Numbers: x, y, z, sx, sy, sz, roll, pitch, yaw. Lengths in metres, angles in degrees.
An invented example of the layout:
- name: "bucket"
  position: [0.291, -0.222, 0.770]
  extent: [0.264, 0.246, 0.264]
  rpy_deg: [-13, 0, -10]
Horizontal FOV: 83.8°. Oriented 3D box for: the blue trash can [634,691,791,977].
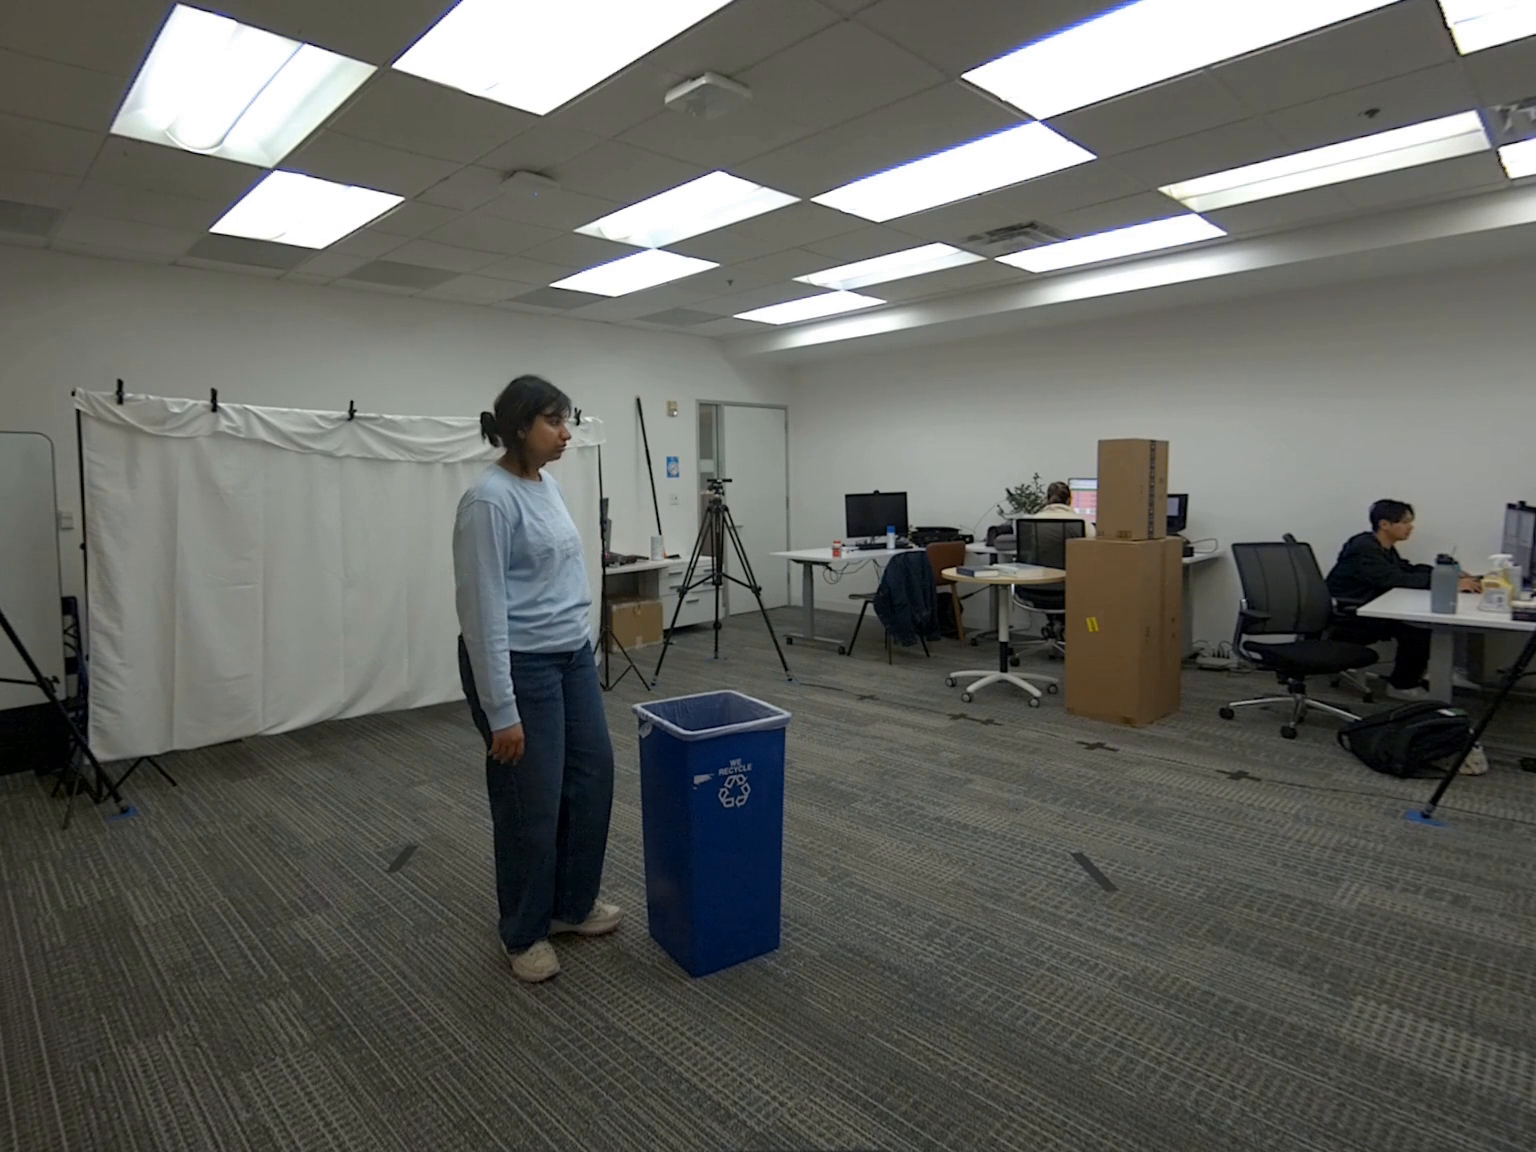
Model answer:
- name: "blue trash can"
  position: [-0.163, 0.750, 2.582]
  extent: [0.365, 0.710, 0.389]
  rpy_deg: [-4, 6, -33]
